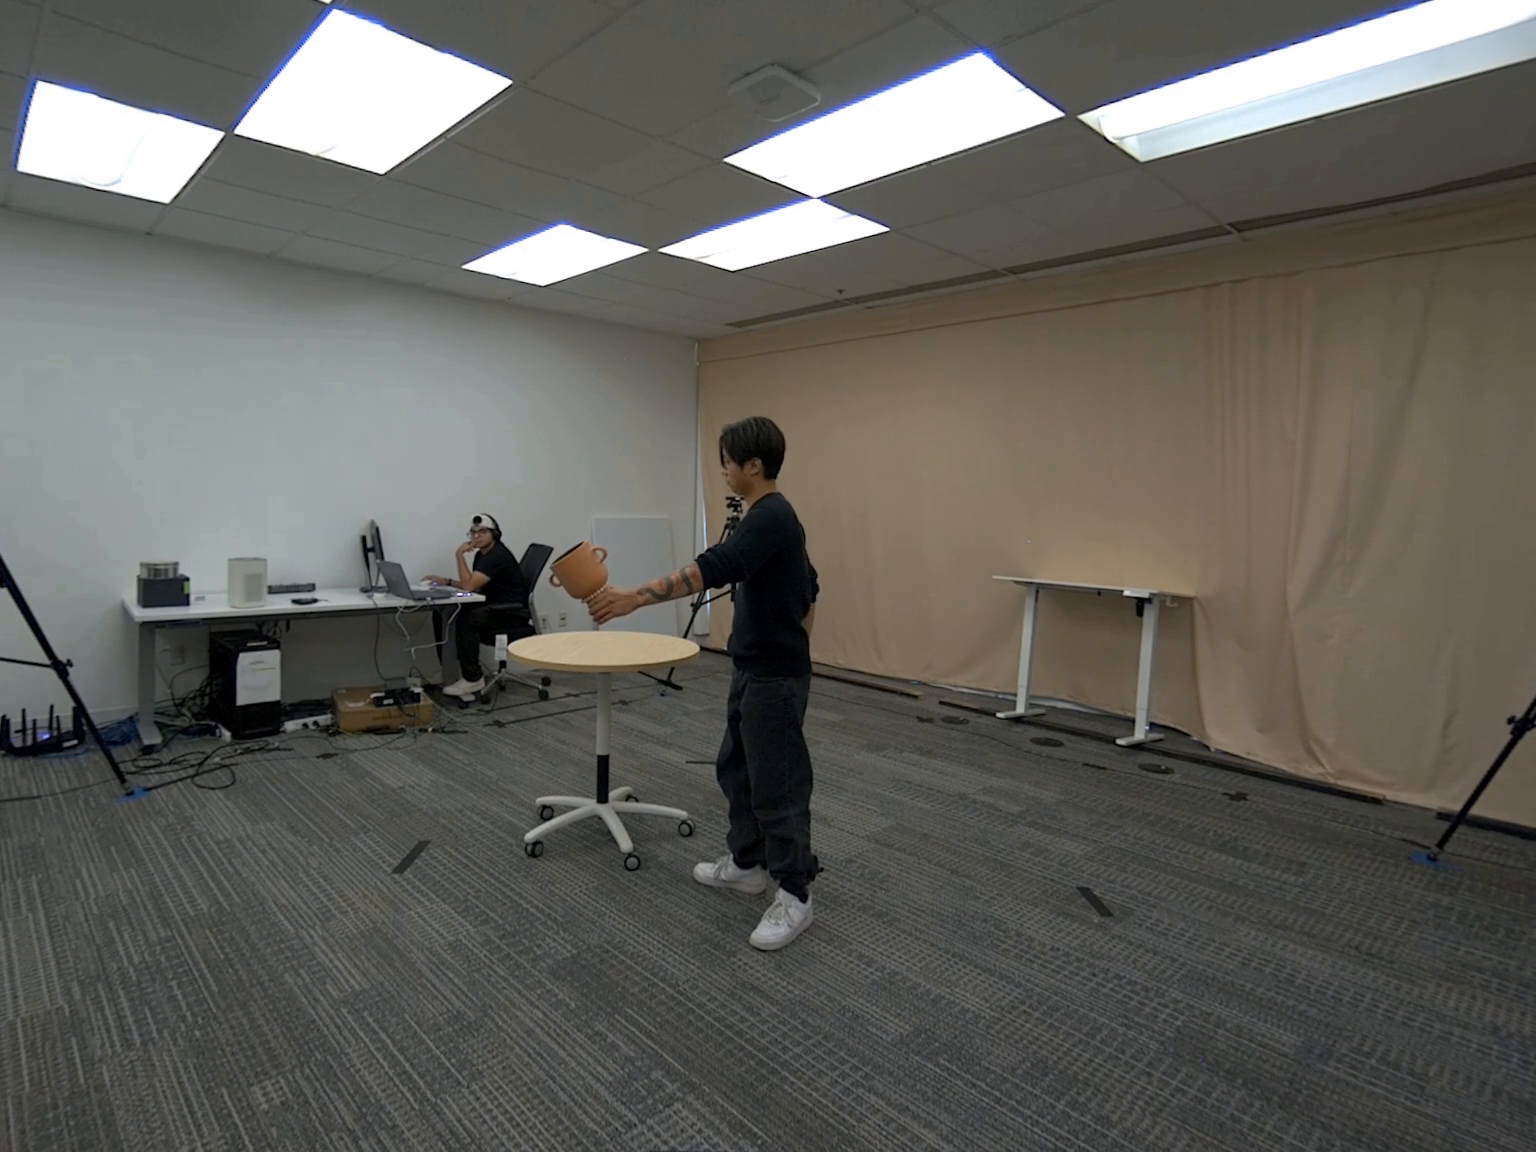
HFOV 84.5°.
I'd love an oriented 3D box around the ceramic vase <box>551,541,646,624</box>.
[{"bbox_3d":[-0.510,0.028,2.410,0.134,0.217,0.161,-43,16,-35],"label":"ceramic vase"}]
